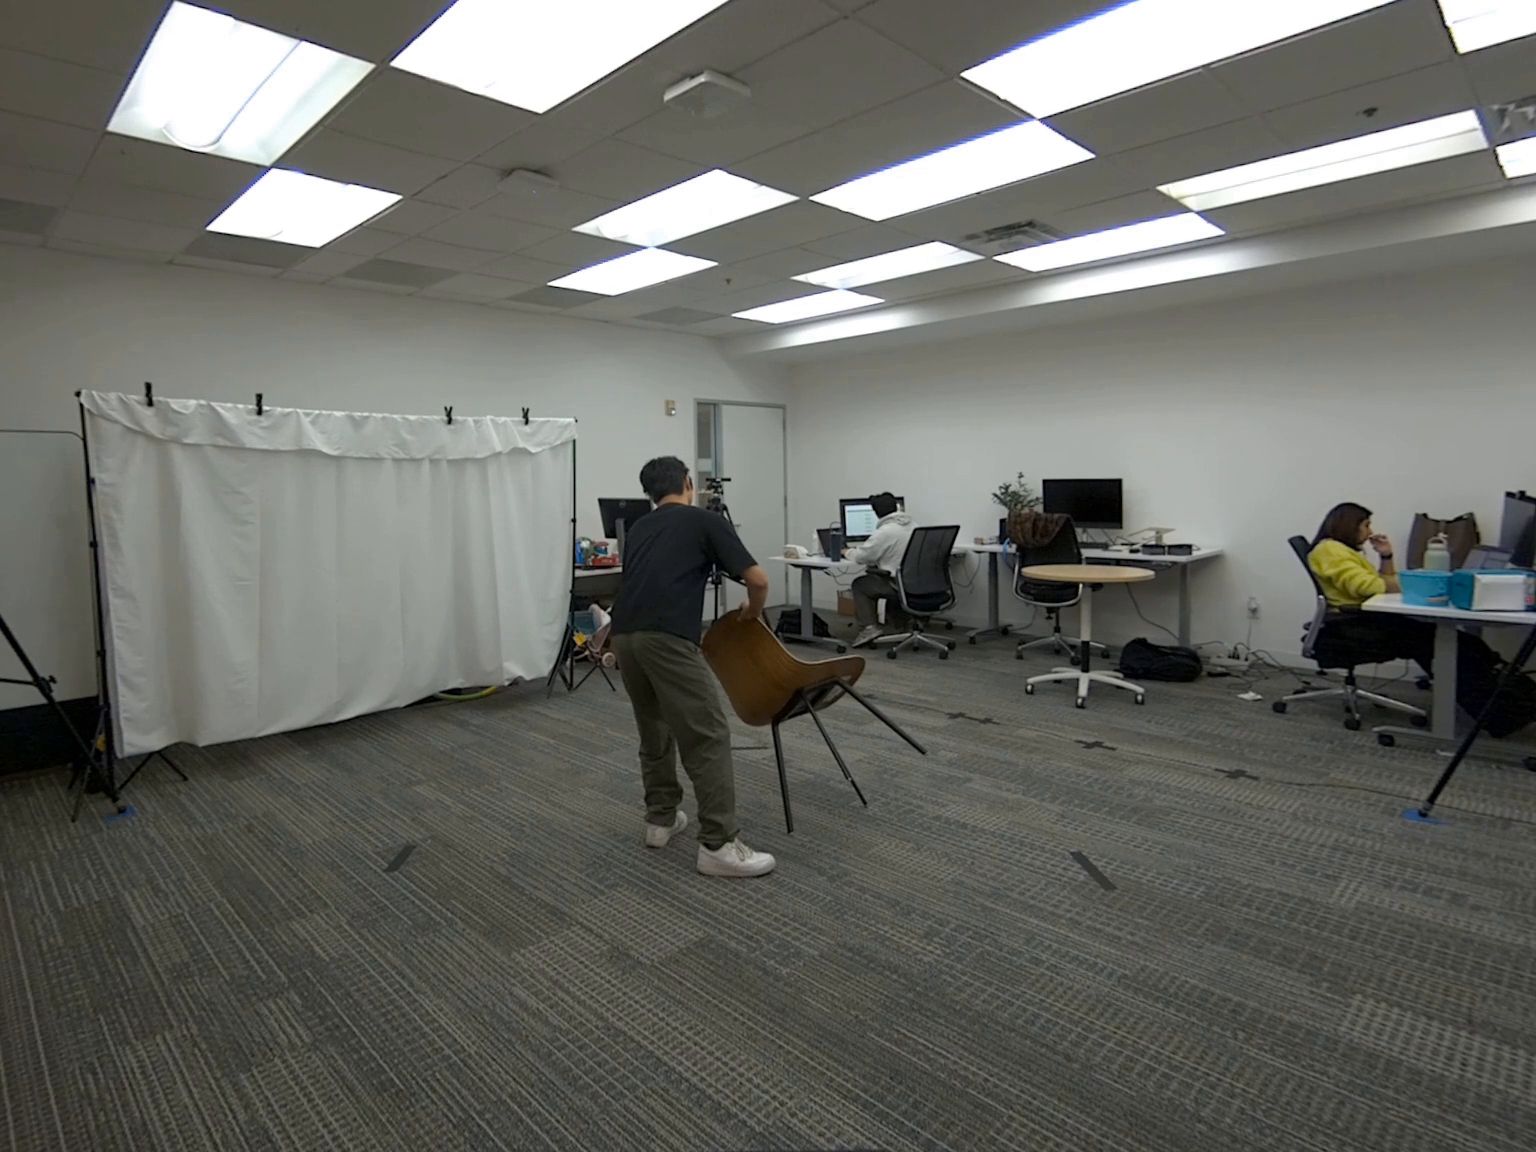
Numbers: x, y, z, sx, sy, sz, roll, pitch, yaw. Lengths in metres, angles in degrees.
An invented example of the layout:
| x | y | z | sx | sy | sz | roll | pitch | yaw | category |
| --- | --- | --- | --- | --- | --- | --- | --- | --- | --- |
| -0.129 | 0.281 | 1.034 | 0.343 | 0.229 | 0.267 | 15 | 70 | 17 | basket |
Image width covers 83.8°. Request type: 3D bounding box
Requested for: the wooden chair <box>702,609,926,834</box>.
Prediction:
| x | y | z | sx | sy | sz | roll | pitch | yaw | category |
| --- | --- | --- | --- | --- | --- | --- | --- | --- | --- |
| 0.157 | 0.526 | 3.559 | 0.510 | 0.904 | 0.475 | -9 | -35 | -42 | wooden chair |
